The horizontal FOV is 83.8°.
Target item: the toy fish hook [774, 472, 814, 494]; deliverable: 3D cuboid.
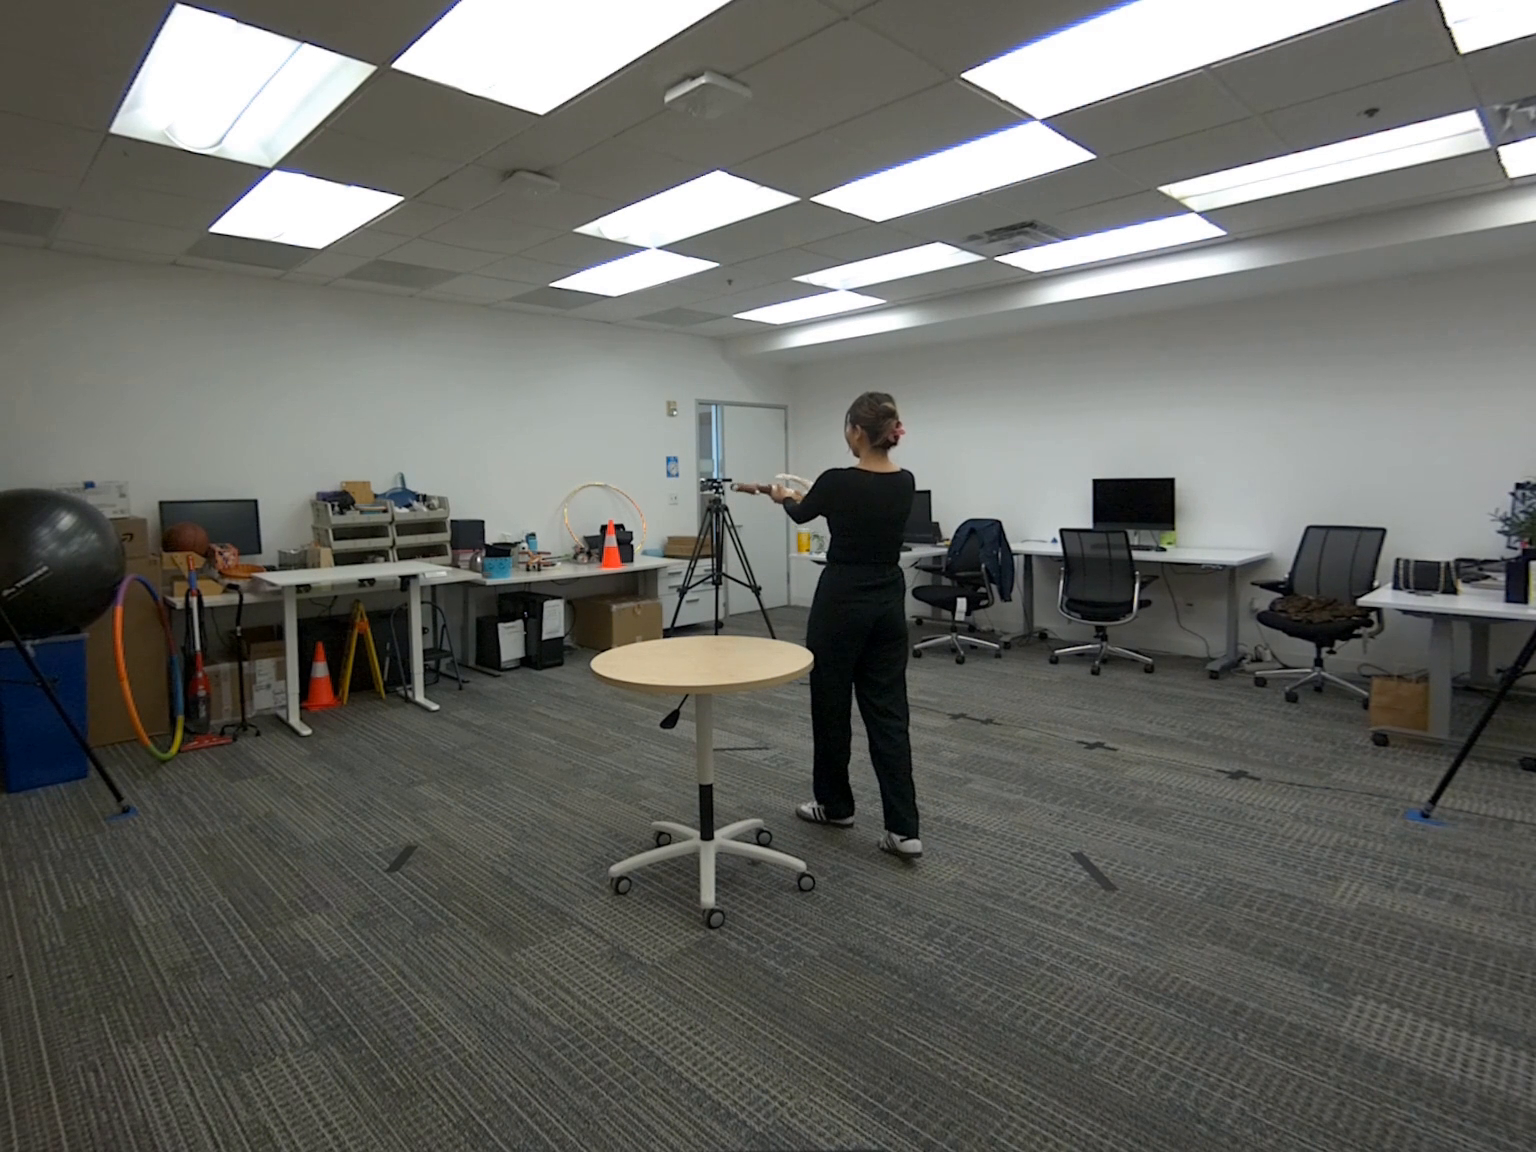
[{"bbox_3d":[0.032,-0.399,3.741,0.492,0.048,0.233,2,29,-34],"label":"toy fish hook"}]
